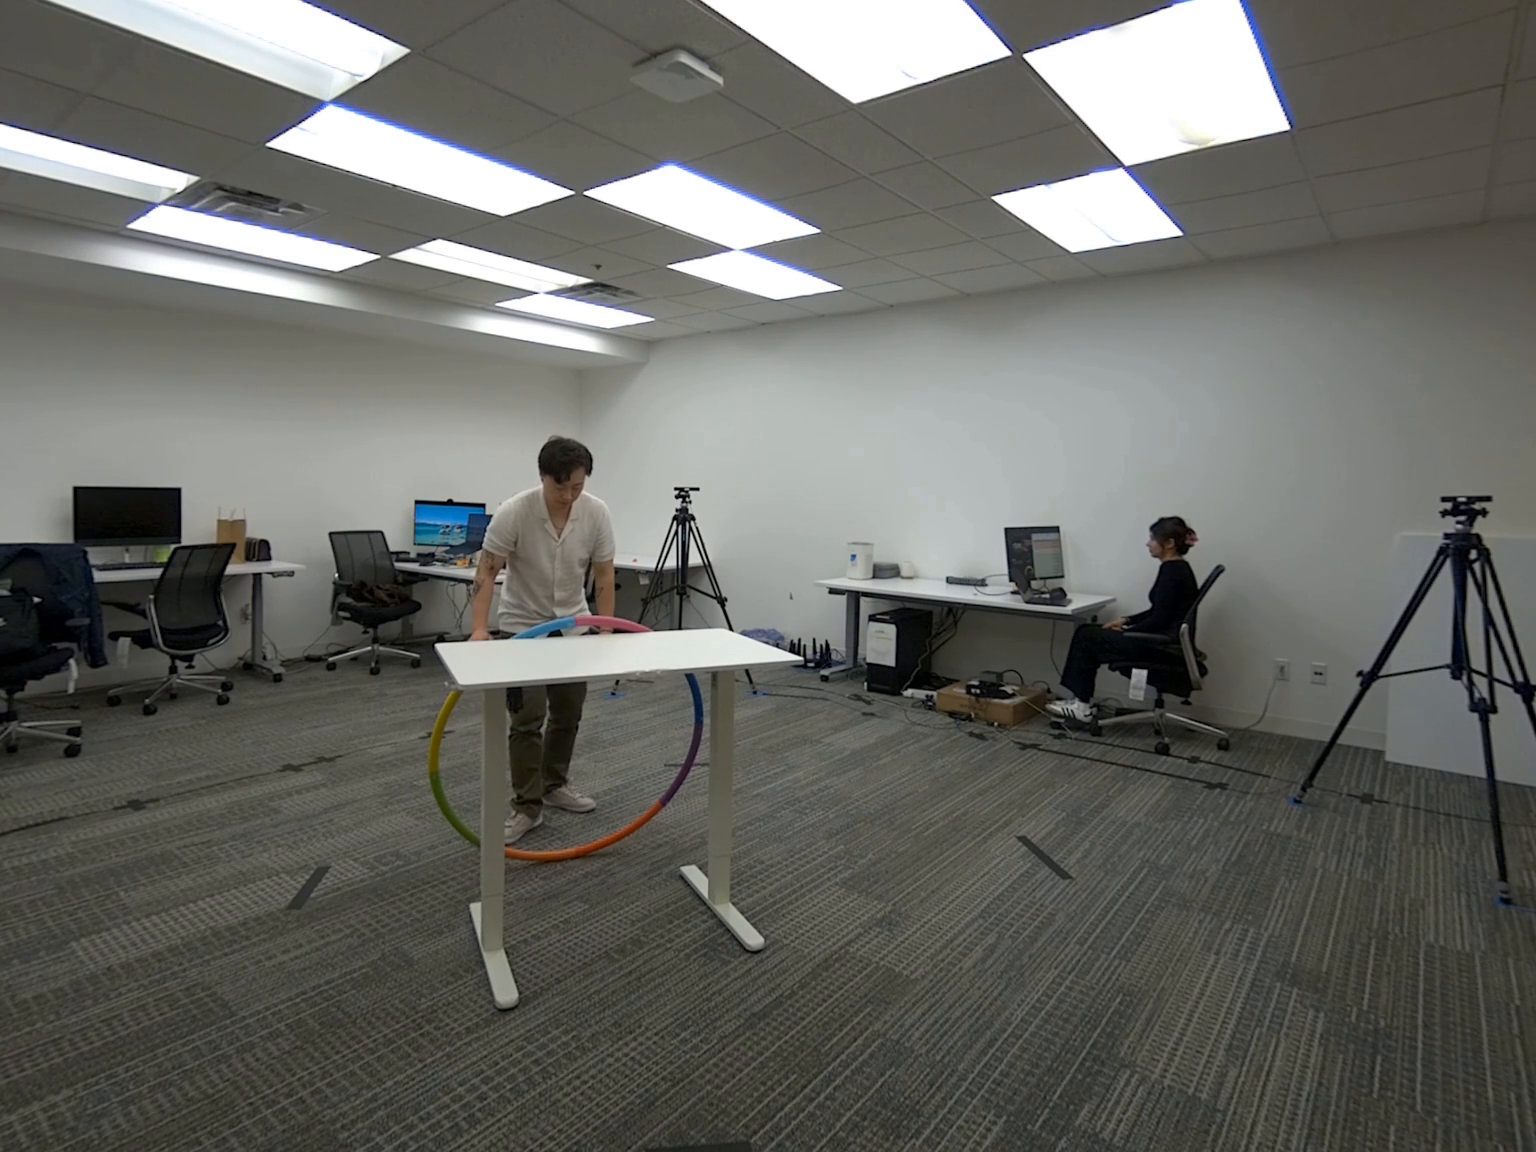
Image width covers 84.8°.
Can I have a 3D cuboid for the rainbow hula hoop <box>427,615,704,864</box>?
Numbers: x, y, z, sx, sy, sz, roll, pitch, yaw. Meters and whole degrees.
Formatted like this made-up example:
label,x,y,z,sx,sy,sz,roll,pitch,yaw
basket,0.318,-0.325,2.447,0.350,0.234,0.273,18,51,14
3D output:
label,x,y,z,sx,sy,sz,roll,pitch,yaw
rainbow hula hoop,-0.707,0.591,3.038,0.956,0.965,0.037,-1,19,-25
